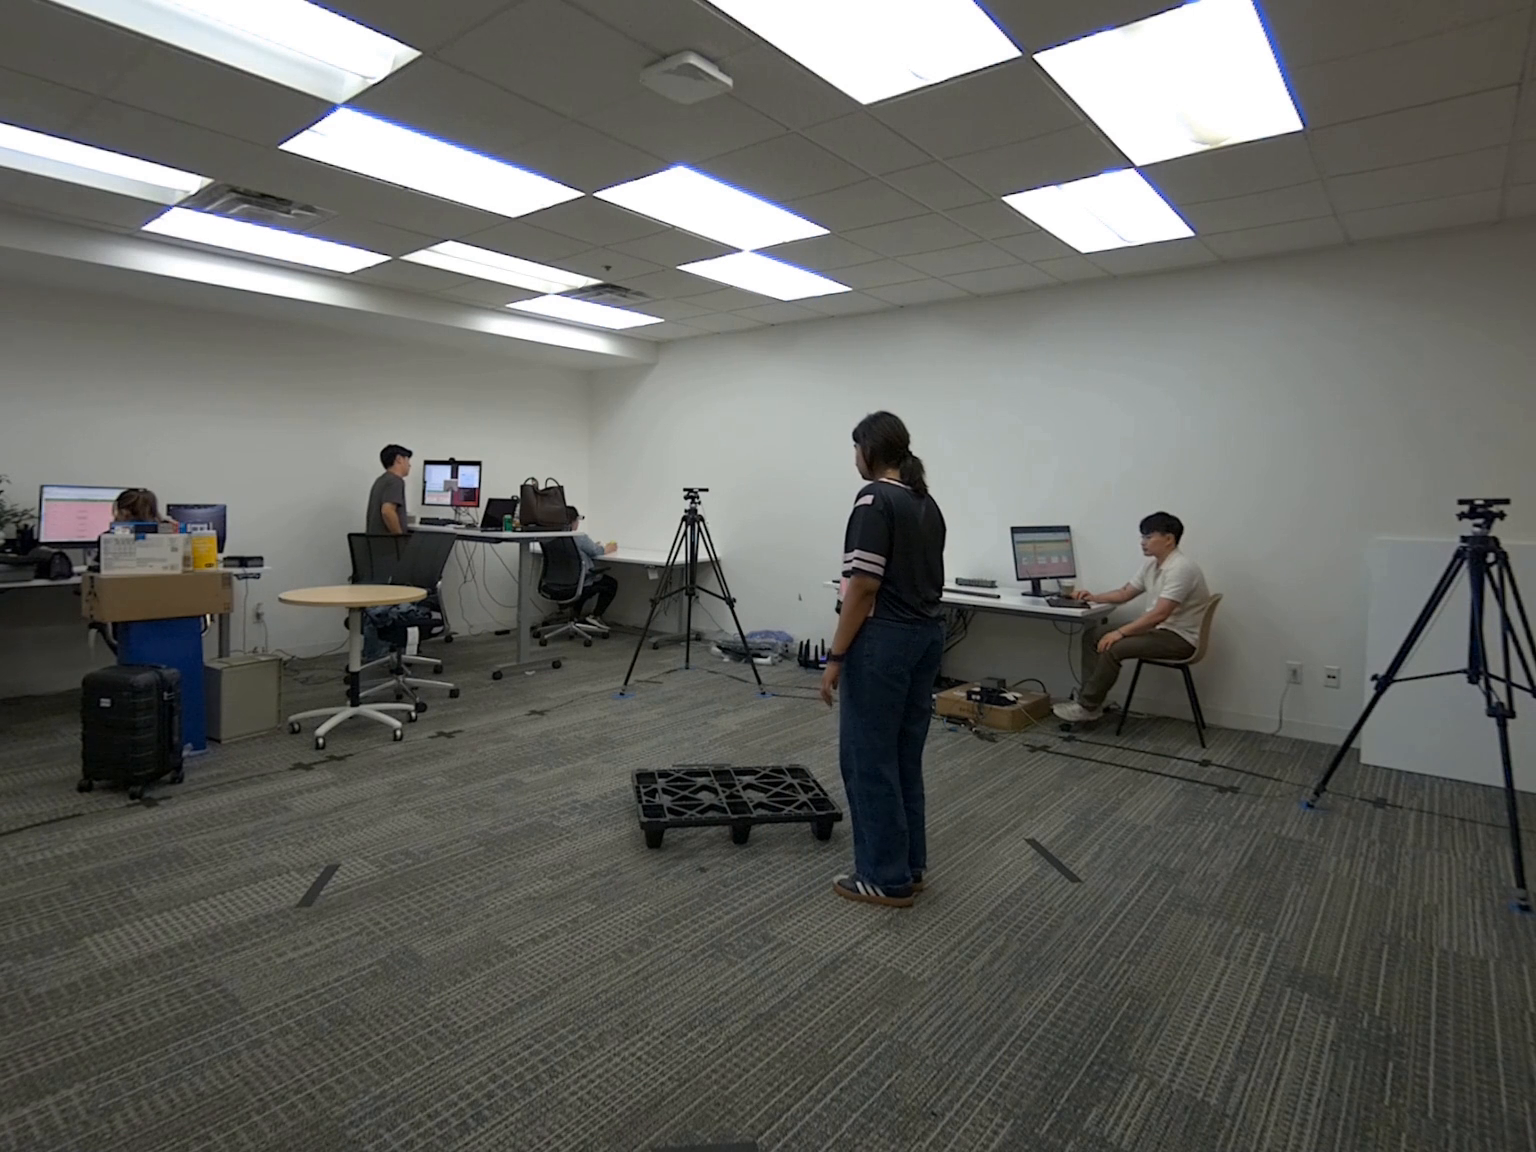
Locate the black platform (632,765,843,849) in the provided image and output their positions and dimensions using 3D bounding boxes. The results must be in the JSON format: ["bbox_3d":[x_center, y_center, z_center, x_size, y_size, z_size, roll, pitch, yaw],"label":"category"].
[{"bbox_3d":[-0.165,0.958,3.564,0.797,0.143,0.614,0,6,-11],"label":"black platform"}]
